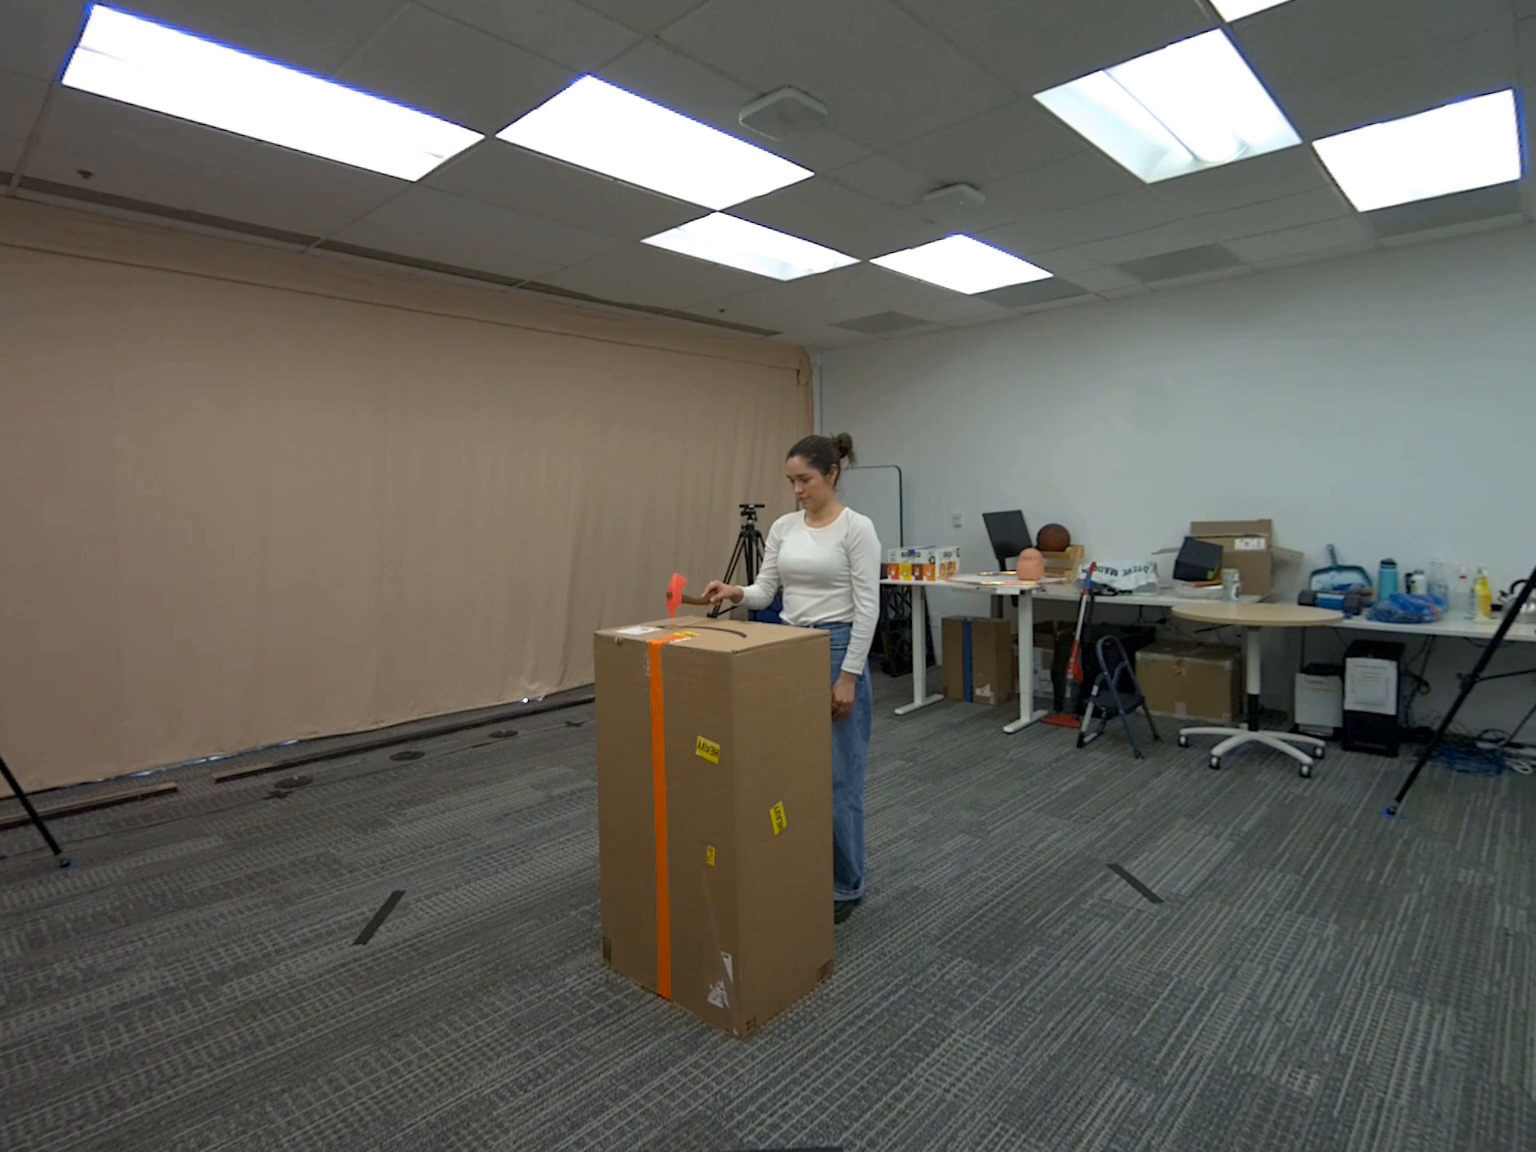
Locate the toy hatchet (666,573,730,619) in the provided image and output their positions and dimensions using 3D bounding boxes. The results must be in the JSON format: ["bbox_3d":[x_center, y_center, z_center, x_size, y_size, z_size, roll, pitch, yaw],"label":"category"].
[{"bbox_3d":[-0.230,0.048,2.642,0.030,0.130,0.264,-5,7,30],"label":"toy hatchet"}]
